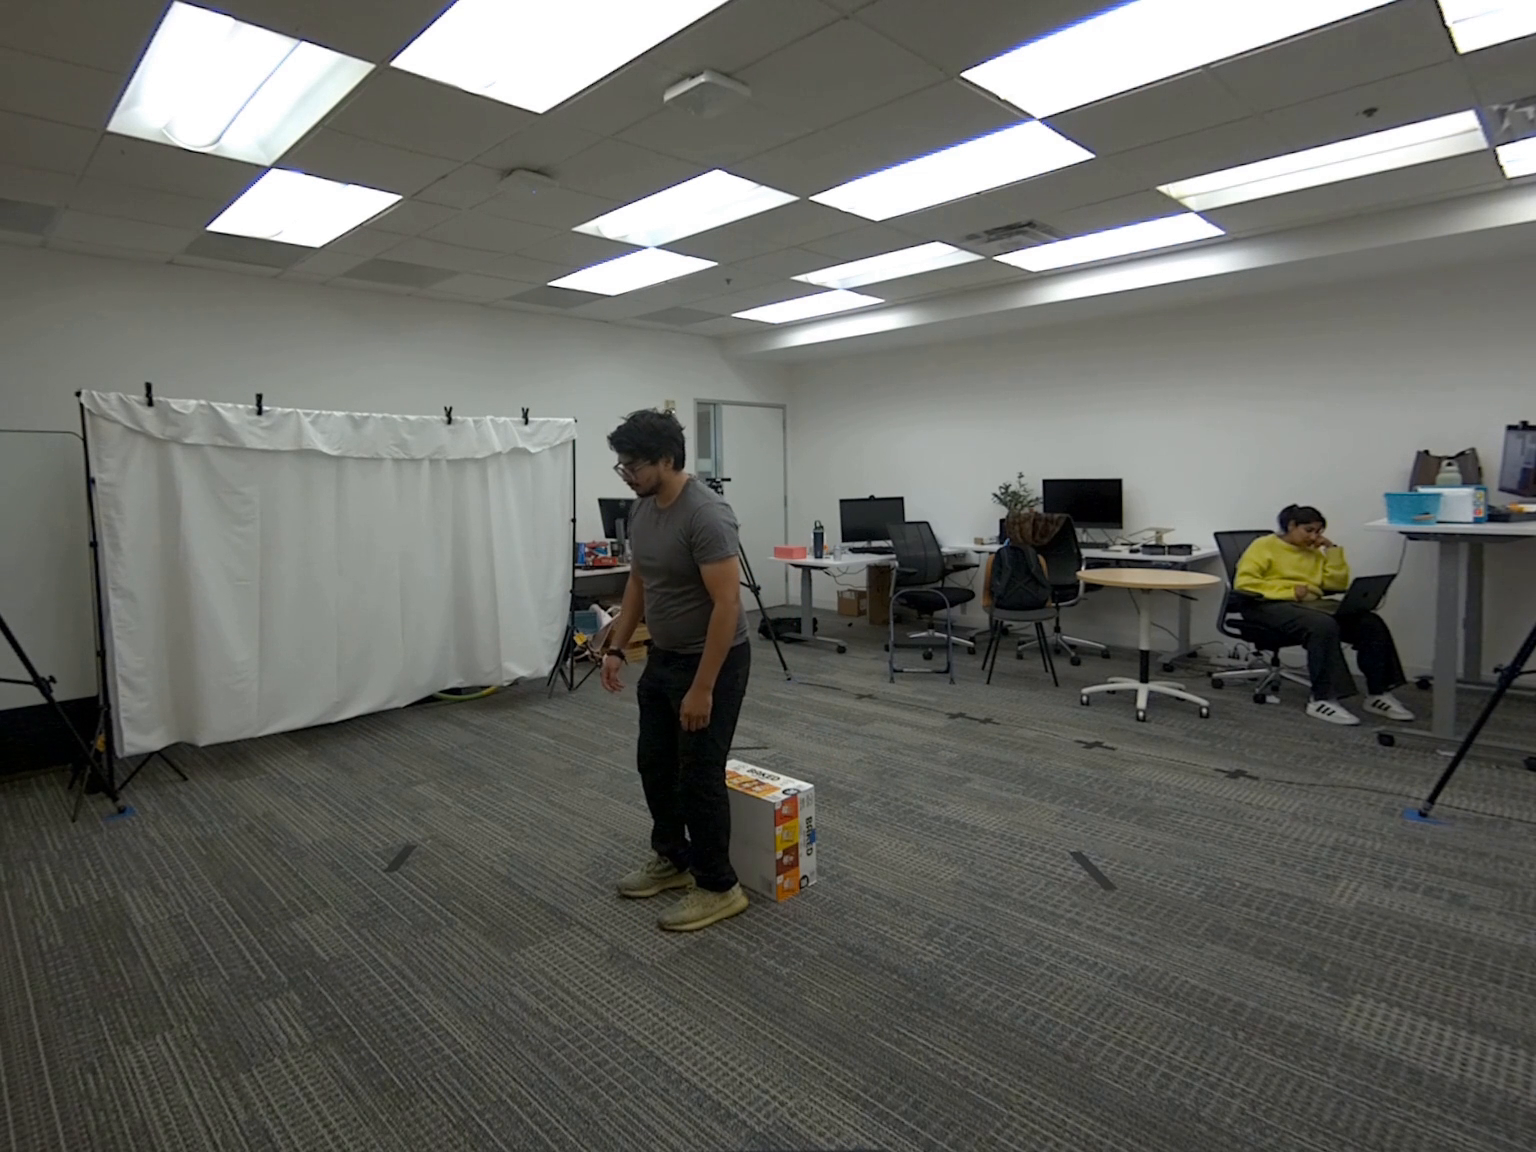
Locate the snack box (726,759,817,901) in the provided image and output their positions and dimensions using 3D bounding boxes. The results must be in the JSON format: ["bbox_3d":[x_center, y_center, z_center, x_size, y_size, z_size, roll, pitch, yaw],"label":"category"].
[{"bbox_3d":[-0.048,0.883,3.016,0.200,0.339,0.418,-6,7,-45],"label":"snack box"}]
